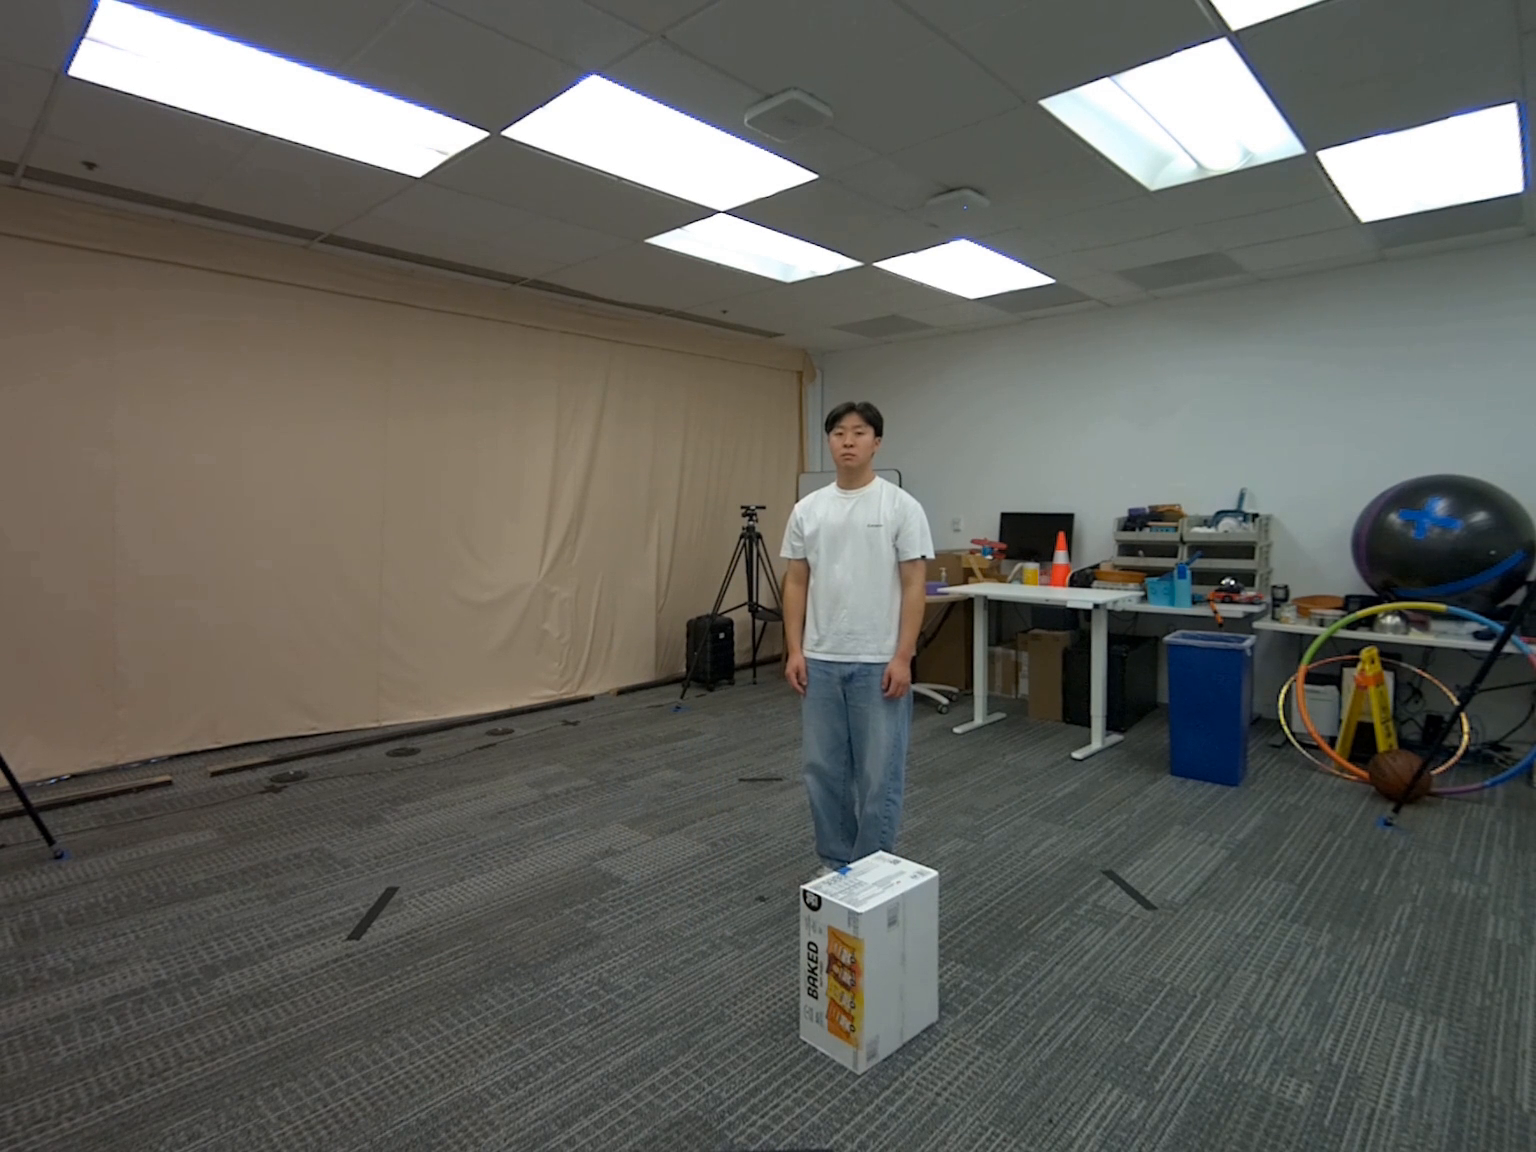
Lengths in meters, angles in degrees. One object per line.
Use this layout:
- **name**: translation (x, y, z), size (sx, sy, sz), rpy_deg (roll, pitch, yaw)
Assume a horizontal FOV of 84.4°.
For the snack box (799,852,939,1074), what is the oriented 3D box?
- **snack box**: translation (0.276, 1.000, 2.232), size (0.330, 0.404, 0.212), rpy_deg (-3, 4, -44)
